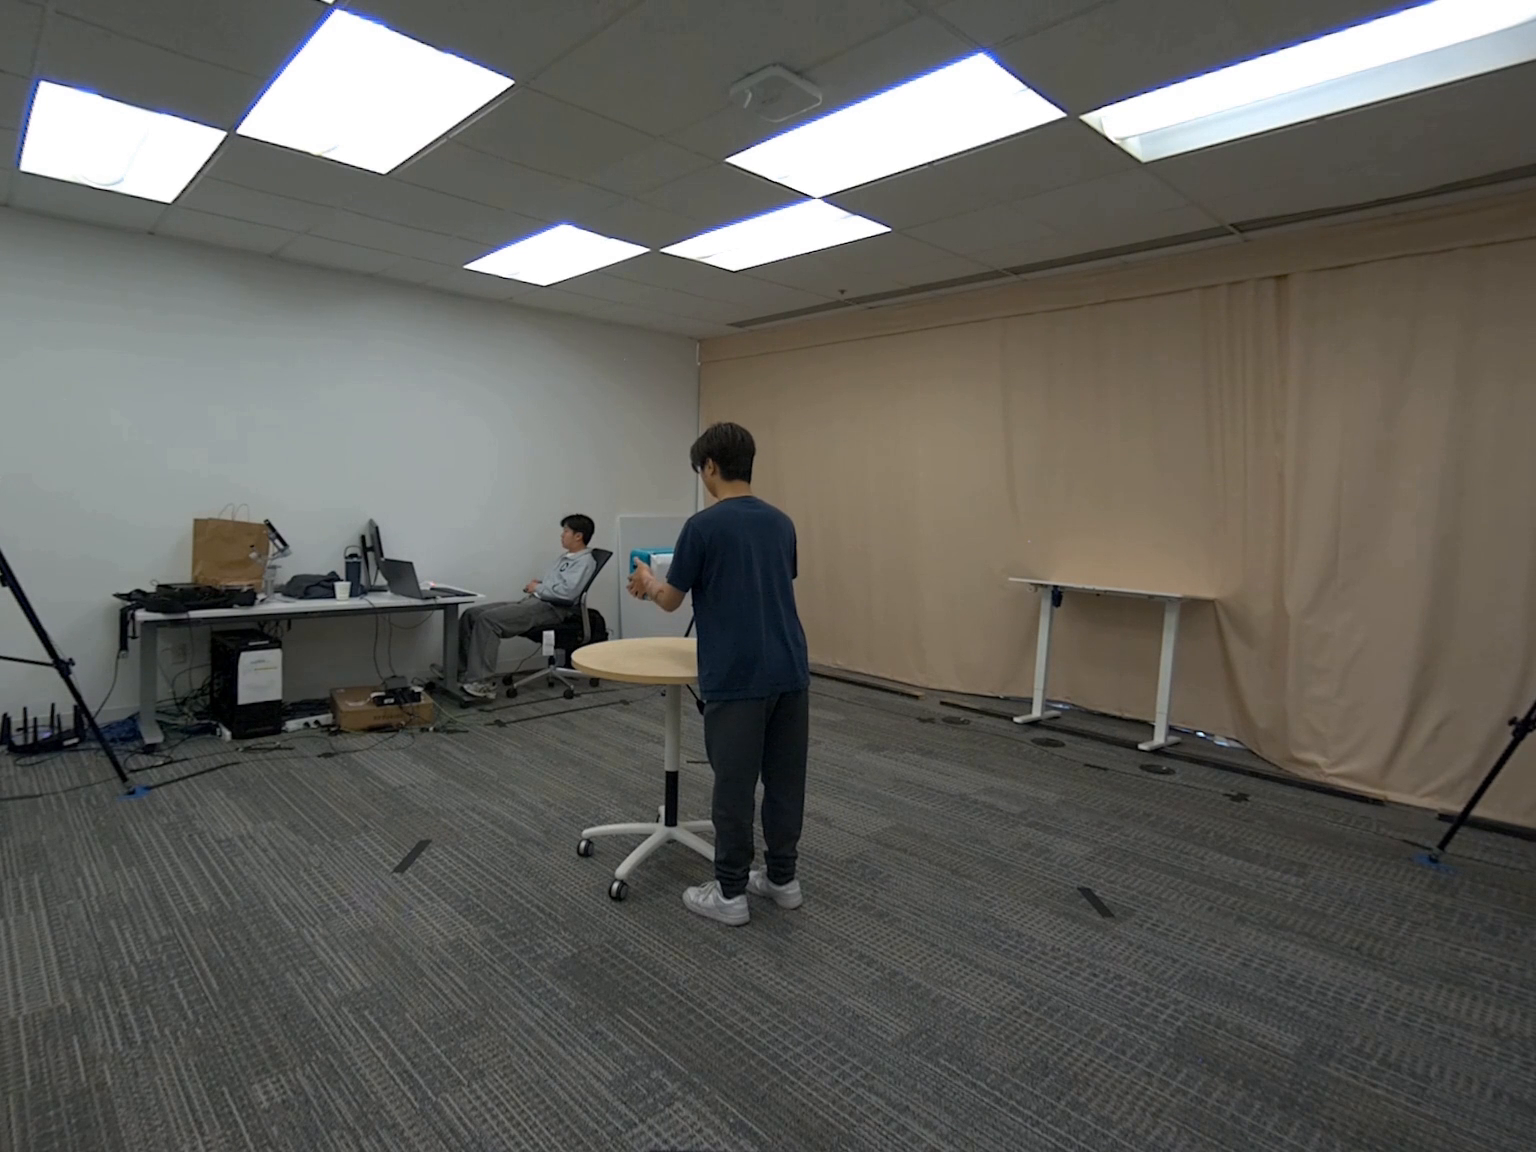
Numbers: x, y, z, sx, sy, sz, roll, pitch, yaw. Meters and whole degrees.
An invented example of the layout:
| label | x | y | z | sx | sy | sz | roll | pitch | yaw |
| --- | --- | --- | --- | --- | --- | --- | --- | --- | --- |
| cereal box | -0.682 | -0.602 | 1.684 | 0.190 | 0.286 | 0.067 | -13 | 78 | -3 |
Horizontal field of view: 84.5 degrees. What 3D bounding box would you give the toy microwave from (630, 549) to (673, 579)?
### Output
| label | x | y | z | sx | sy | sz | roll | pitch | yaw |
| --- | --- | --- | --- | --- | --- | --- | --- | --- | --- |
| toy microwave | -0.375 | -0.007 | 3.178 | 0.280 | 0.183 | 0.156 | -3 | 6 | -37 |
